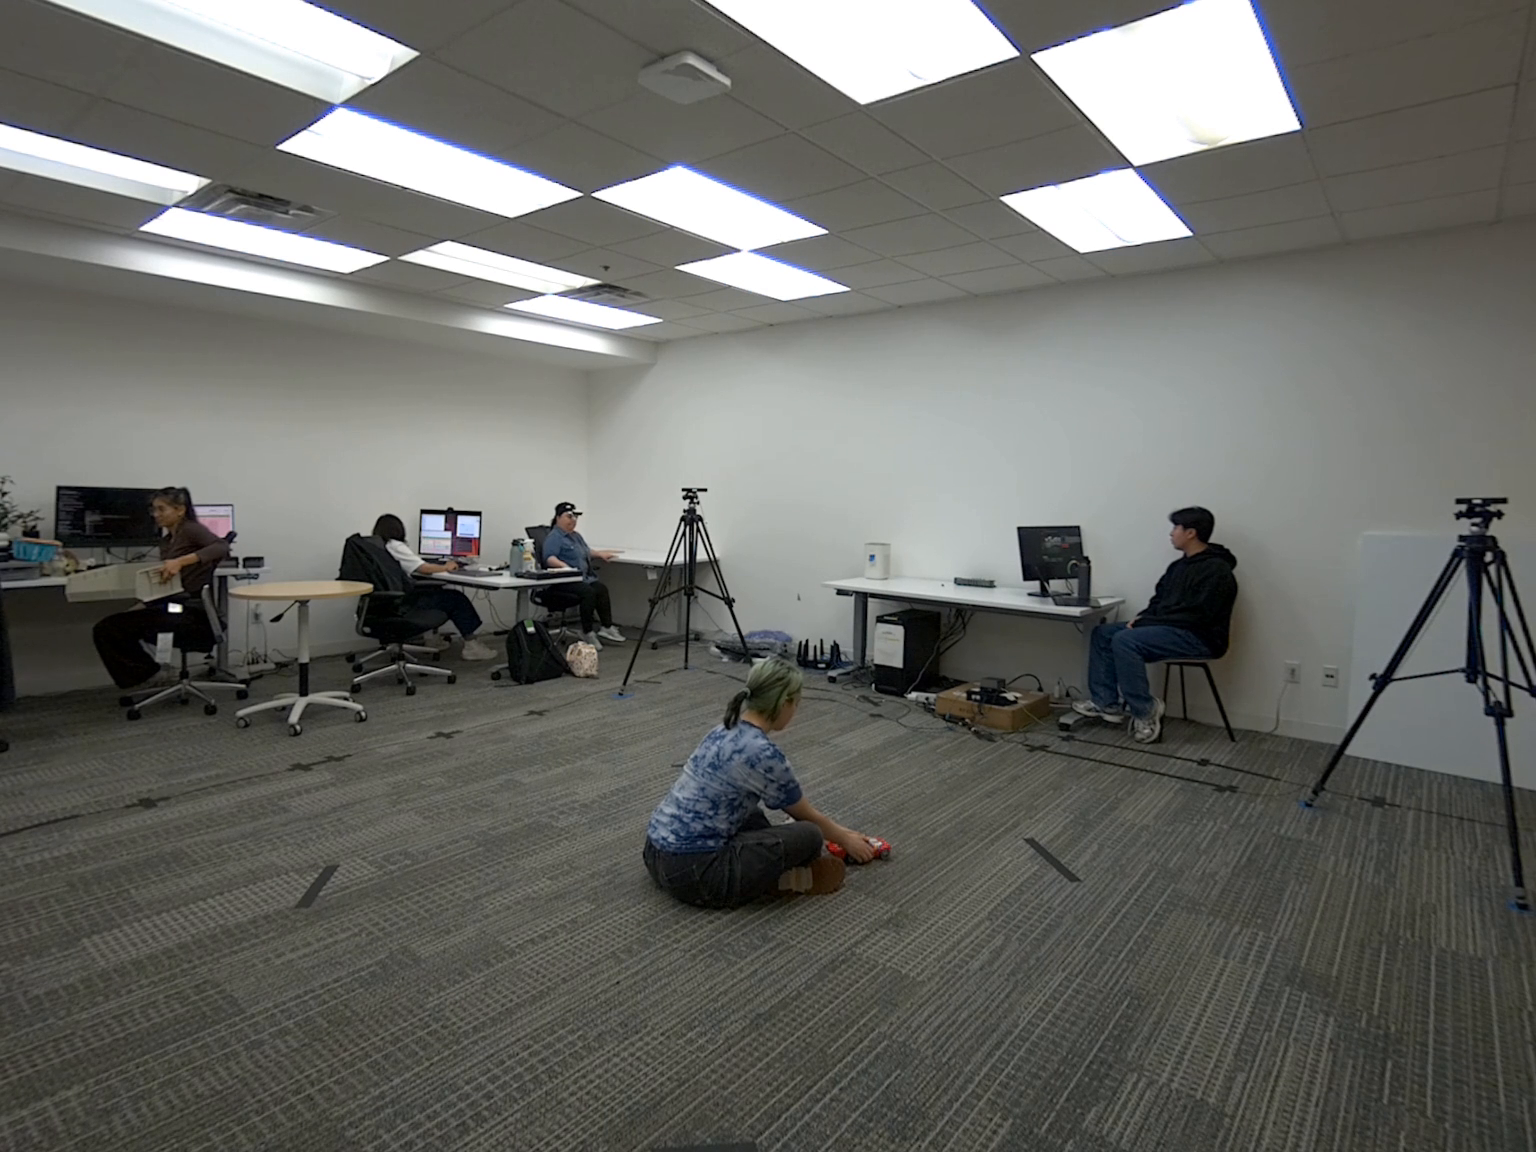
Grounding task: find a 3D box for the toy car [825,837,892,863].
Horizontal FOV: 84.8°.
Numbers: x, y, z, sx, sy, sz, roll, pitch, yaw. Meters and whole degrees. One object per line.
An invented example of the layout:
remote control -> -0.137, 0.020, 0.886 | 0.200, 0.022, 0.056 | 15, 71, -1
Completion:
toy car -> 0.333, 1.045, 3.243 | 0.250, 0.083, 0.133 | 7, 4, -17
